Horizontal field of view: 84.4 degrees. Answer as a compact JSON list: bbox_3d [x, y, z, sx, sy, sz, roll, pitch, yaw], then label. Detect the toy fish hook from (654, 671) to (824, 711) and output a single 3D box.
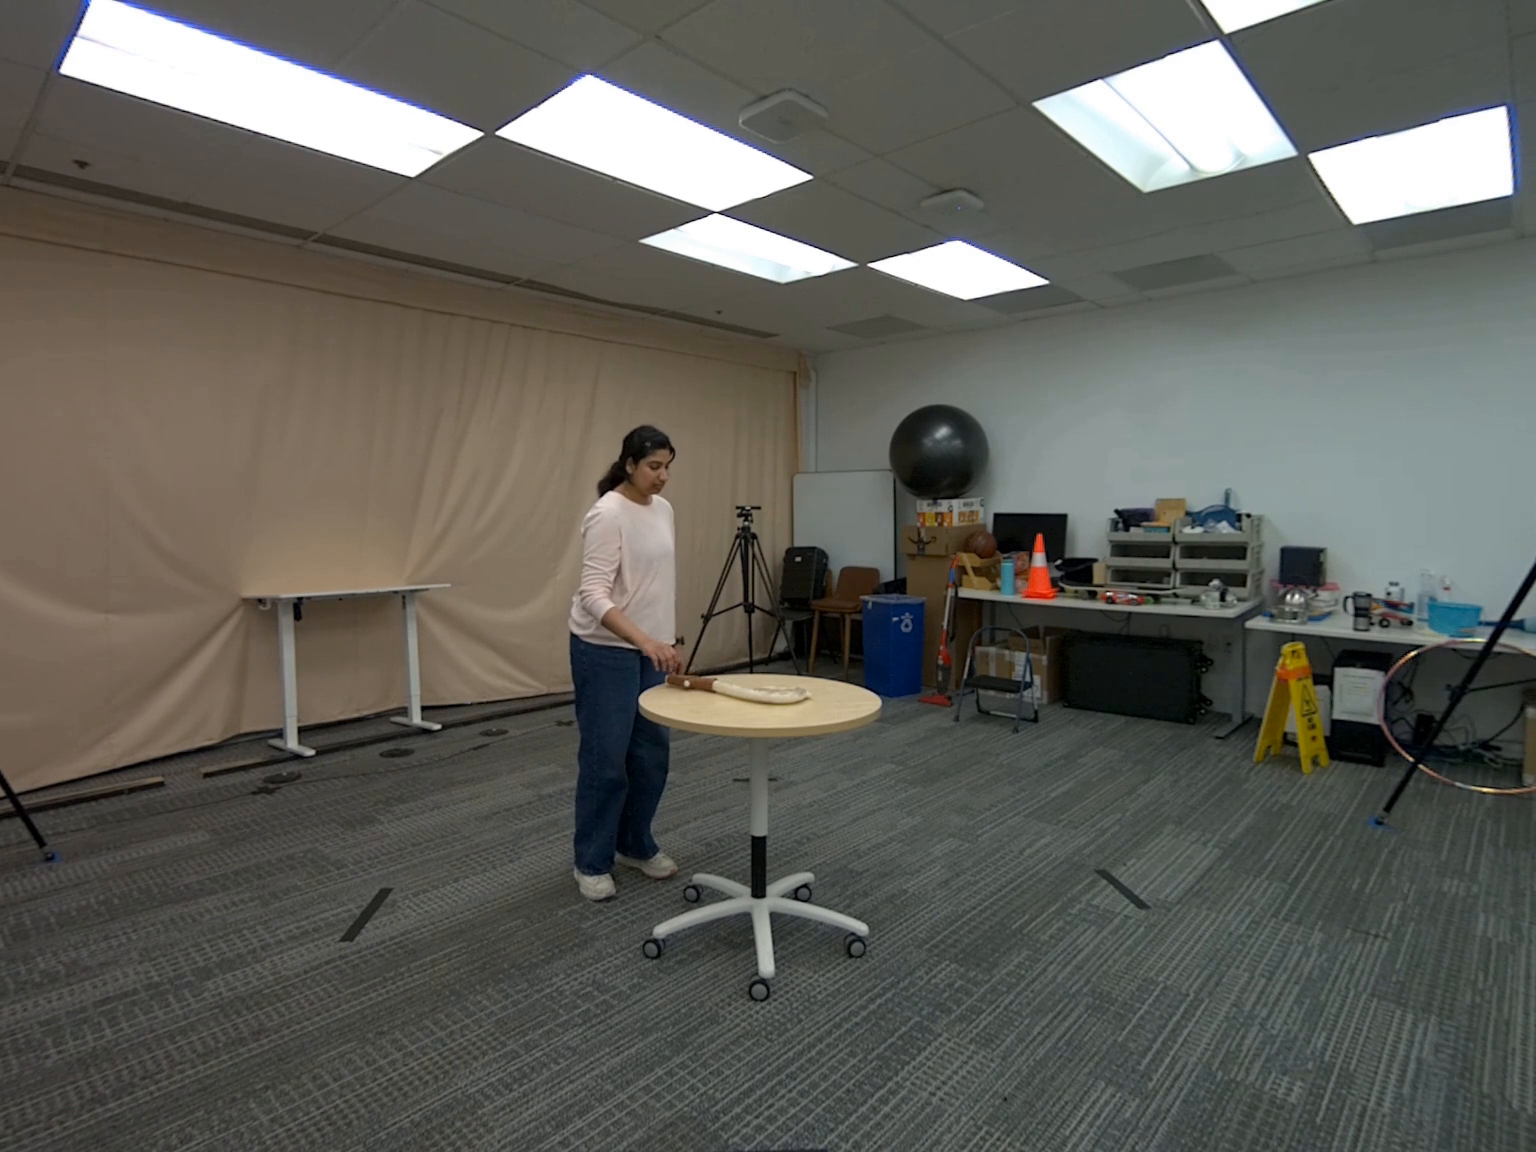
[{"bbox_3d":[-0.102,0.367,2.745,0.522,0.048,0.217,4,-1,33],"label":"toy fish hook"}]
